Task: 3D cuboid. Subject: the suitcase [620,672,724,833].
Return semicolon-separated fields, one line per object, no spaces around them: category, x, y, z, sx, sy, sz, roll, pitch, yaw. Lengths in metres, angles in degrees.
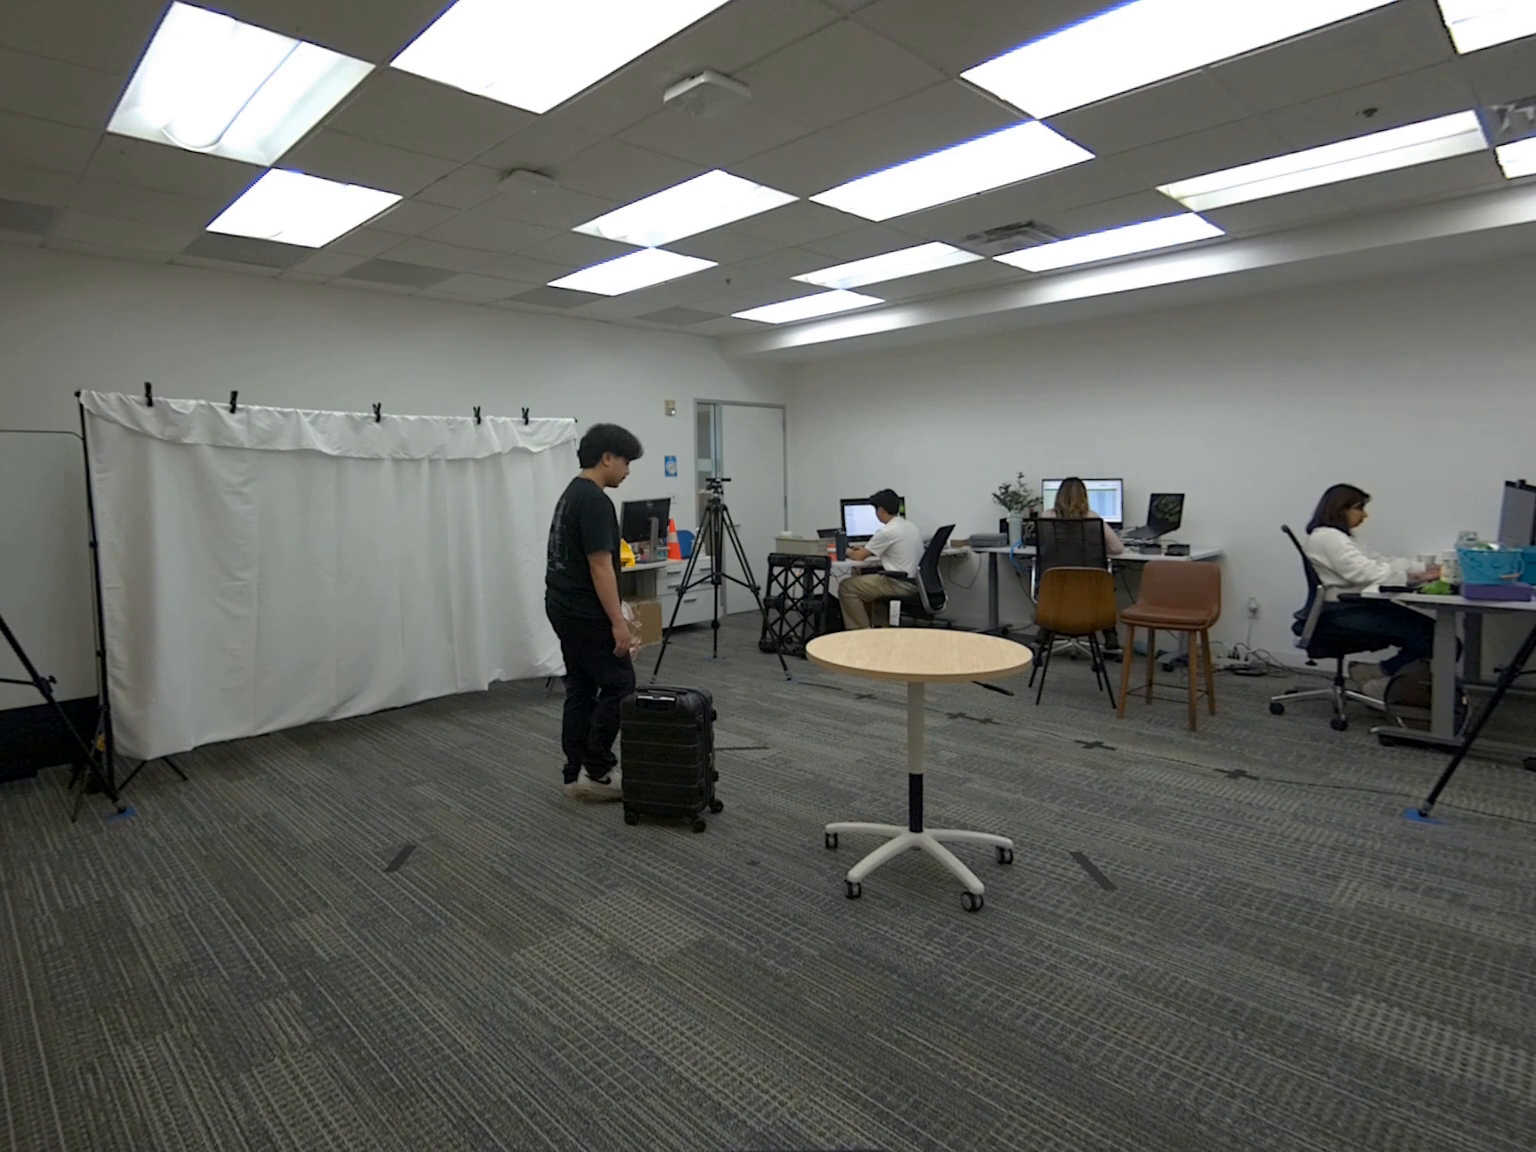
suitcase;-0.413;0.734;3.529;0.382;0.548;0.245;-1;3;17
